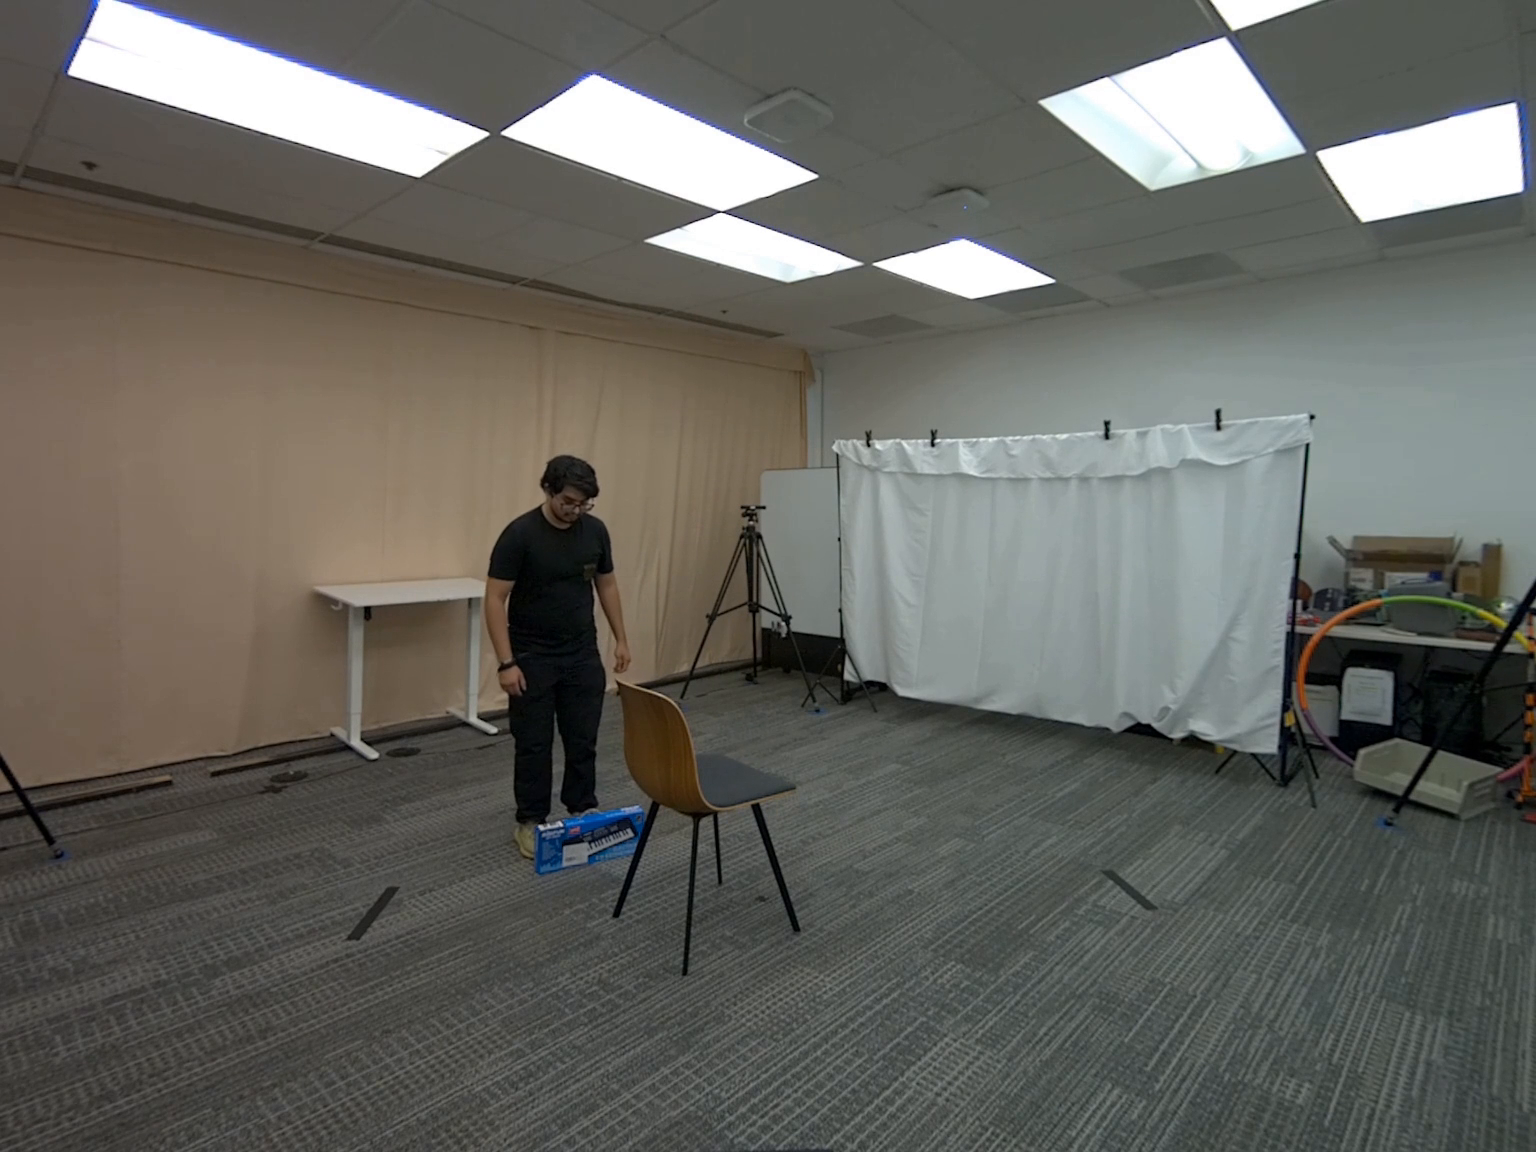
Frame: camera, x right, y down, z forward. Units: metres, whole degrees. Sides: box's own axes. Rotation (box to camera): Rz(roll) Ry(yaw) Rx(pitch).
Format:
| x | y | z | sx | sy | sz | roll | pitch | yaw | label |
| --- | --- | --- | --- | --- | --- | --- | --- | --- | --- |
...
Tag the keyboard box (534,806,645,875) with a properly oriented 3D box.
| x | y | z | sx | sy | sz | roll | pitch | yaw | label |
| --- | --- | --- | --- | --- | --- | --- | --- | --- | --- |
| -0.702 | 1.040 | 3.314 | 0.425 | 0.175 | 0.061 | -3 | 8 | -30 | keyboard box |
